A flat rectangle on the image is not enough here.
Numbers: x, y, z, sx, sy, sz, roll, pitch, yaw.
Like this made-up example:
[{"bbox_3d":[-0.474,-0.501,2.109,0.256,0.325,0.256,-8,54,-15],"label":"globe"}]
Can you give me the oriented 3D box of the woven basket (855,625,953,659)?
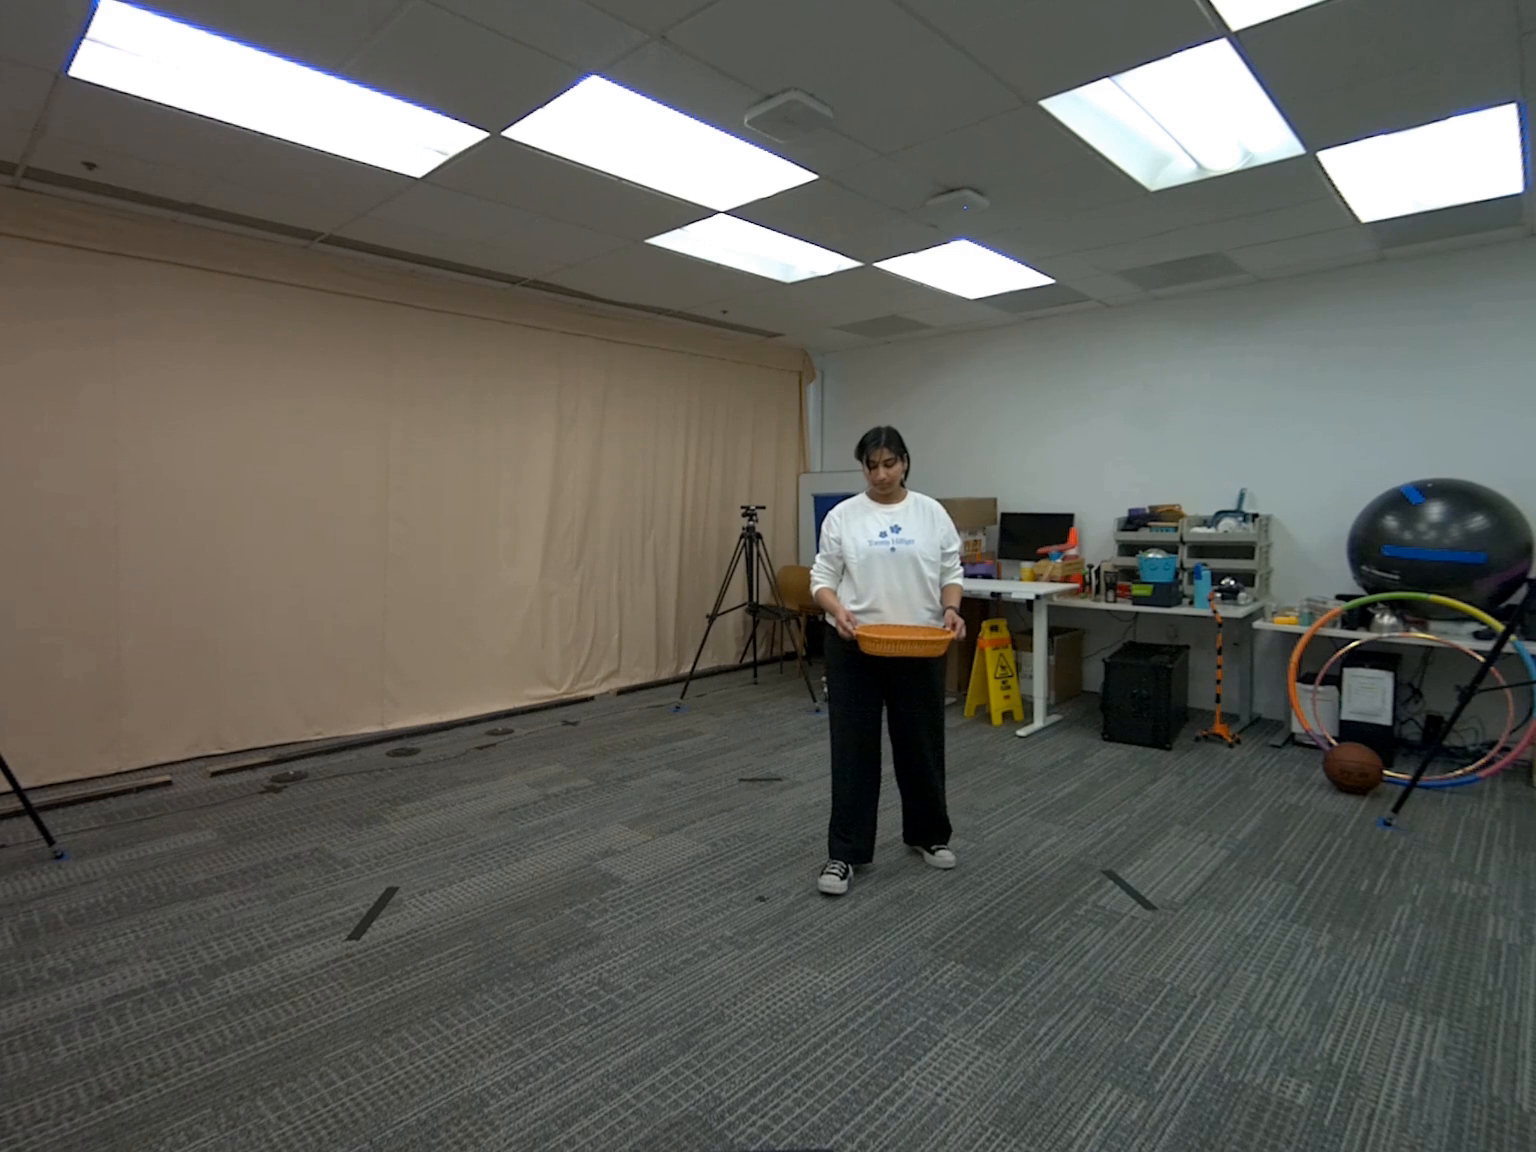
[{"bbox_3d":[0.473,0.227,2.904,0.353,0.073,0.251,0,6,6],"label":"woven basket"}]
